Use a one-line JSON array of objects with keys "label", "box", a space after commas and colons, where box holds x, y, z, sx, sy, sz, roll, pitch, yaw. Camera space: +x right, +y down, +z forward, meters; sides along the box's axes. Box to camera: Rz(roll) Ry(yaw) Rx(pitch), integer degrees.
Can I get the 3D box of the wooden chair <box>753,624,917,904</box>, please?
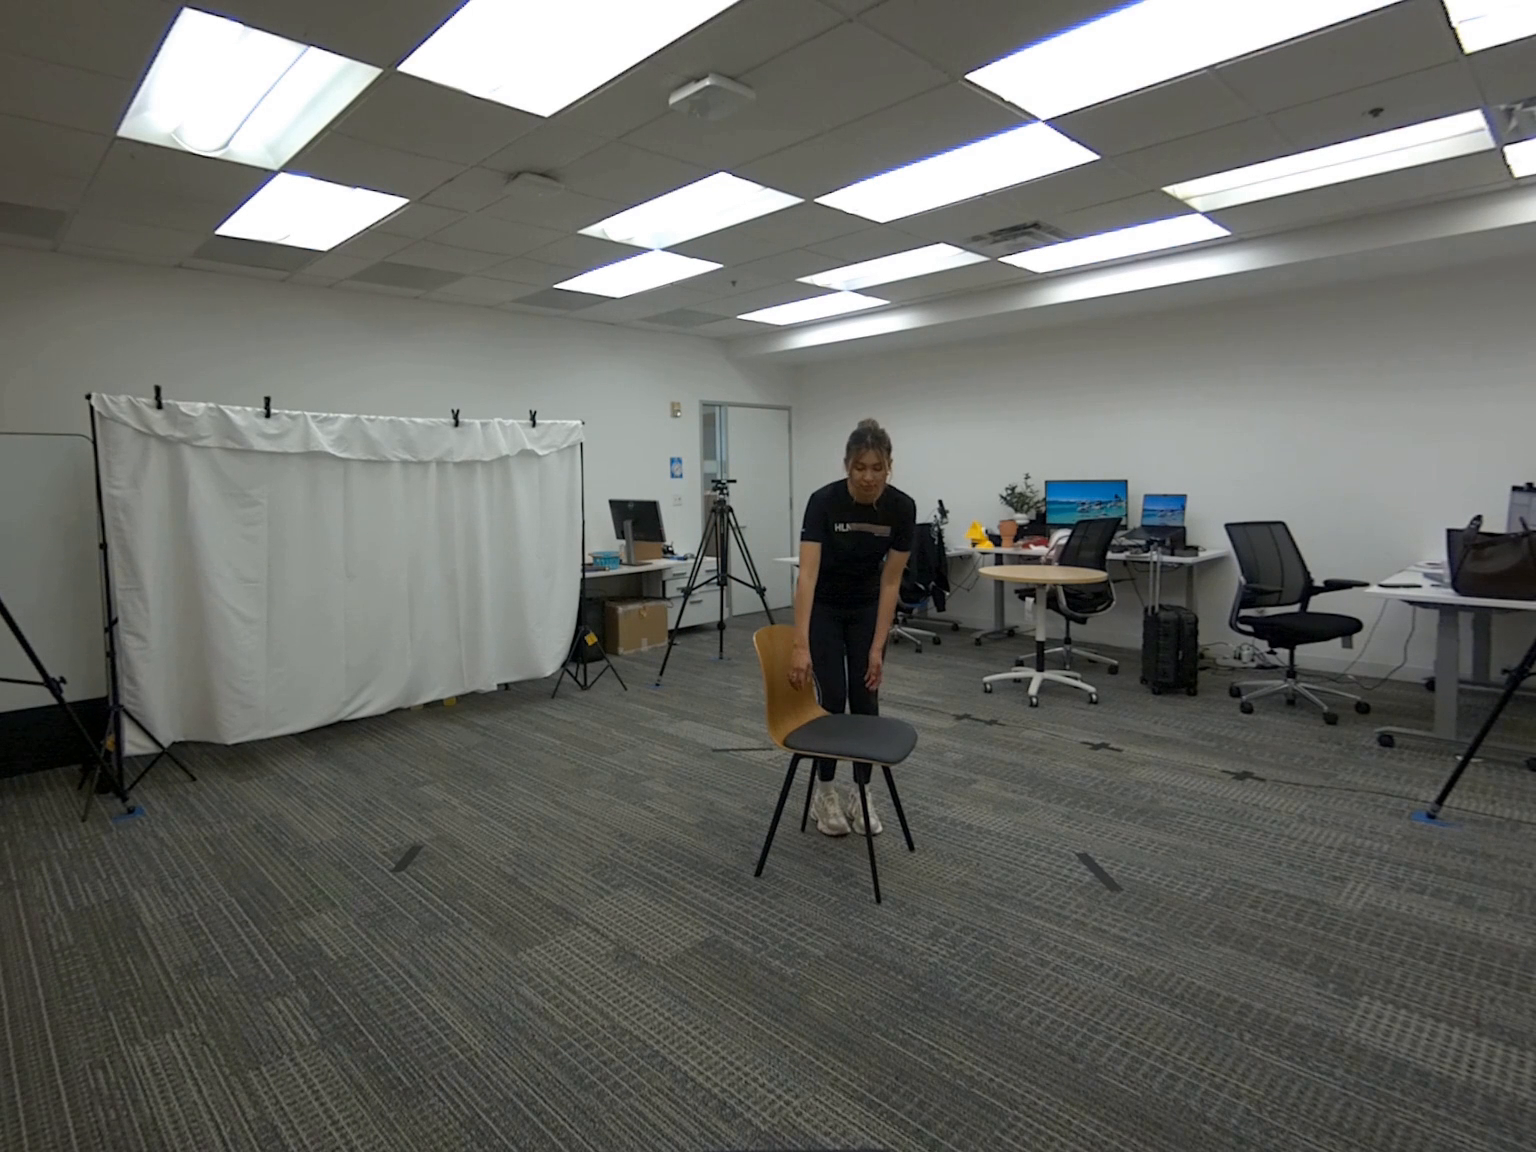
[{"label": "wooden chair", "box": [0.253, 0.617, 3.065, 0.535, 0.877, 0.468, -4, 1, 26]}]
